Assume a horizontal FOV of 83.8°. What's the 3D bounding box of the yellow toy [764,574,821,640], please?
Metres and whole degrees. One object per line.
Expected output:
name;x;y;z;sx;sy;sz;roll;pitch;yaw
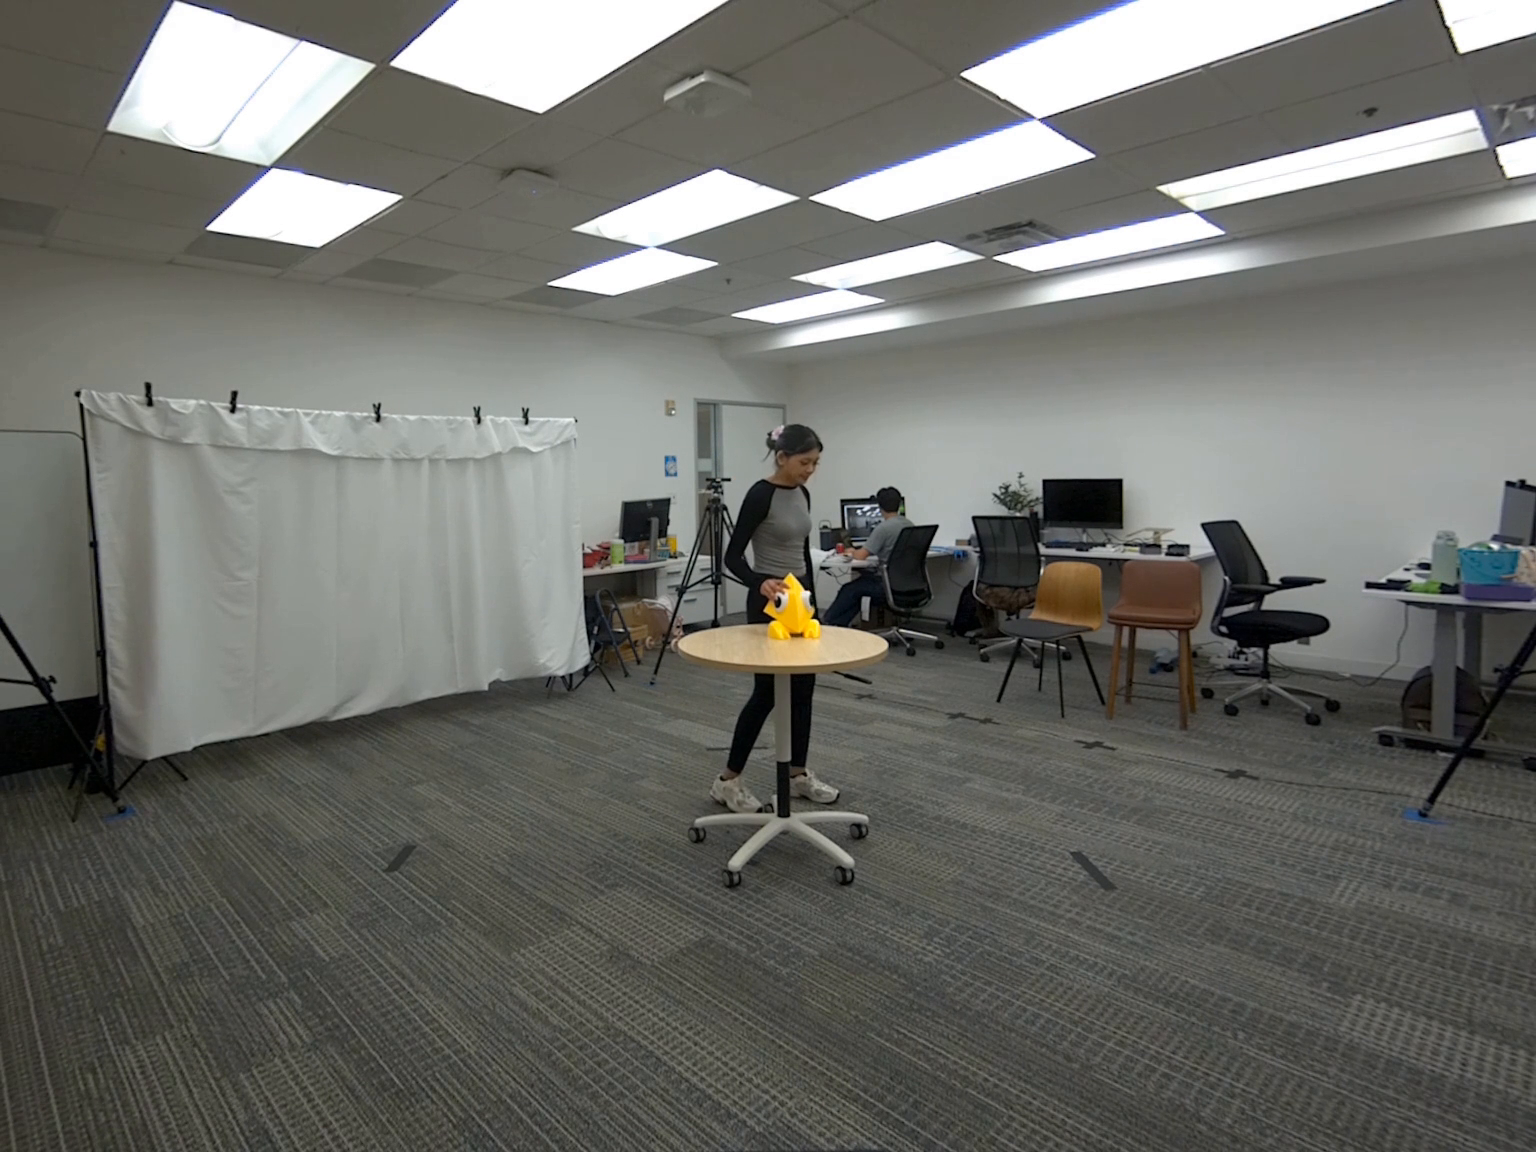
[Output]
yellow toy;0.103;0.115;3.279;0.203;0.230;0.195;-1;6;-8
